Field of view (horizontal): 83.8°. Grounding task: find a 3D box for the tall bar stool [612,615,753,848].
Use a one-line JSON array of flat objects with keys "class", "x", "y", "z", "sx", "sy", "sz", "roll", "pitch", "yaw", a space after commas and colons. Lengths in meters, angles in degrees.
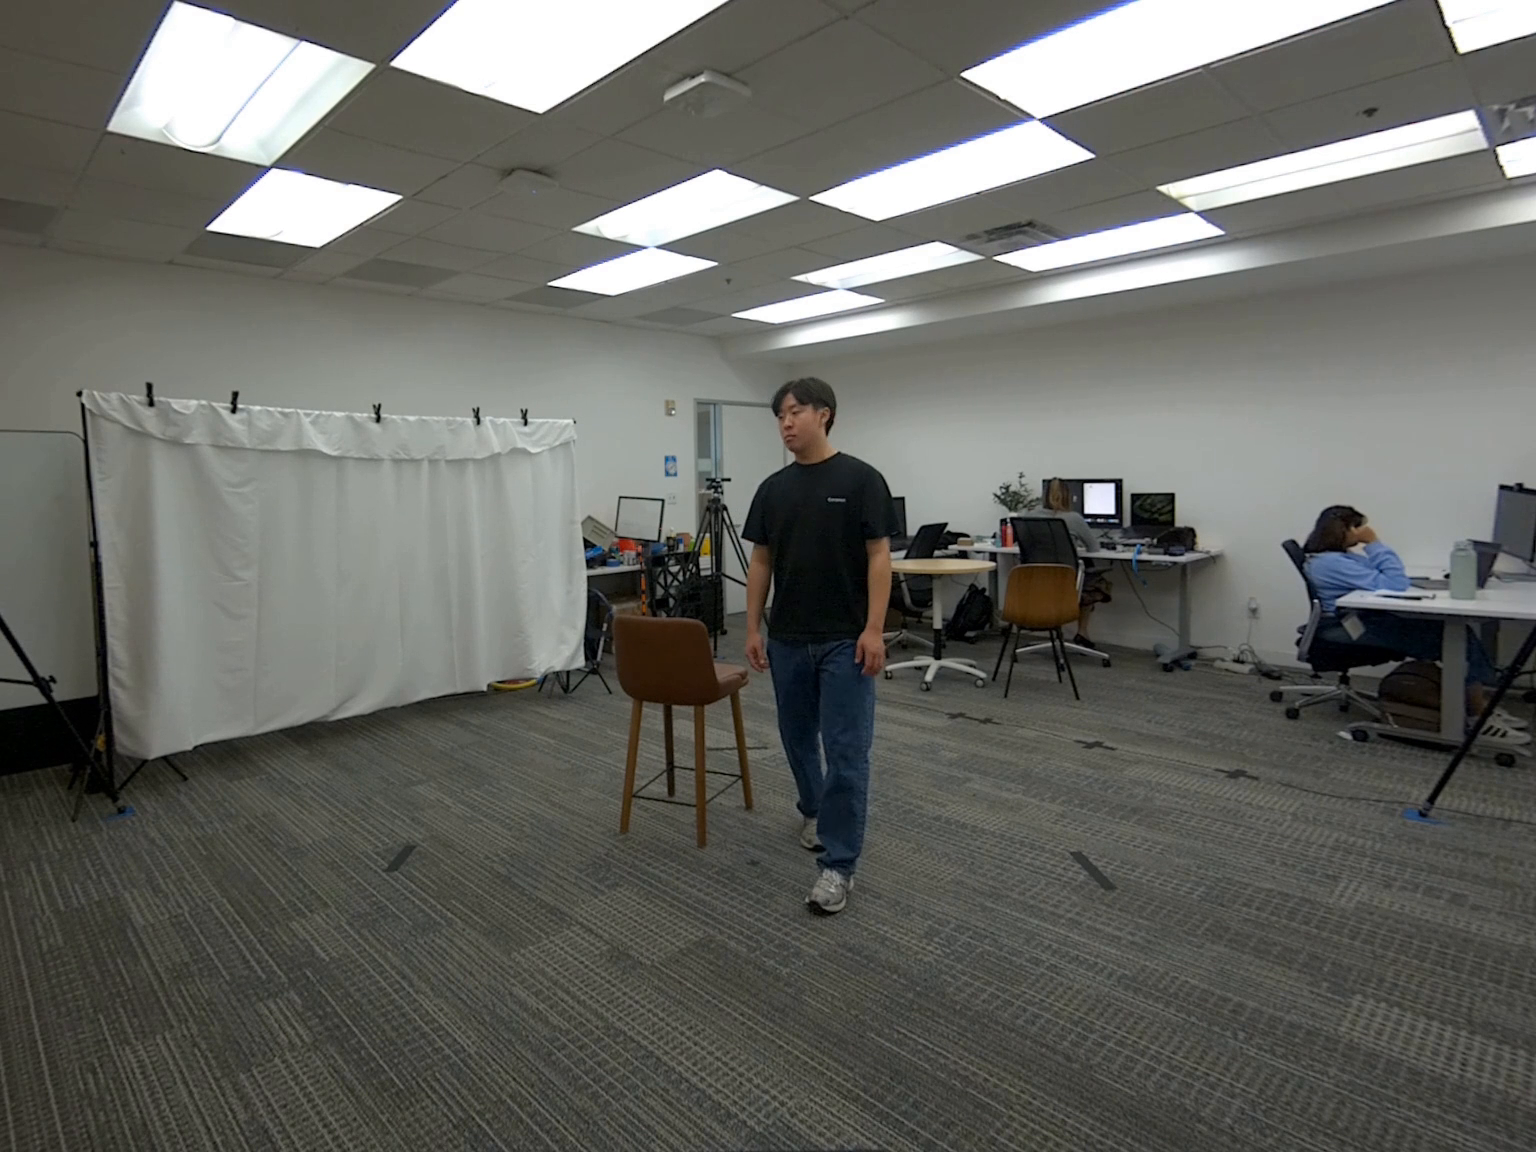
[{"class": "tall bar stool", "x": -0.346, "y": 0.568, "z": 3.488, "sx": 0.467, "sy": 0.885, "sz": 0.459, "roll": 1, "pitch": 6, "yaw": 25}]
